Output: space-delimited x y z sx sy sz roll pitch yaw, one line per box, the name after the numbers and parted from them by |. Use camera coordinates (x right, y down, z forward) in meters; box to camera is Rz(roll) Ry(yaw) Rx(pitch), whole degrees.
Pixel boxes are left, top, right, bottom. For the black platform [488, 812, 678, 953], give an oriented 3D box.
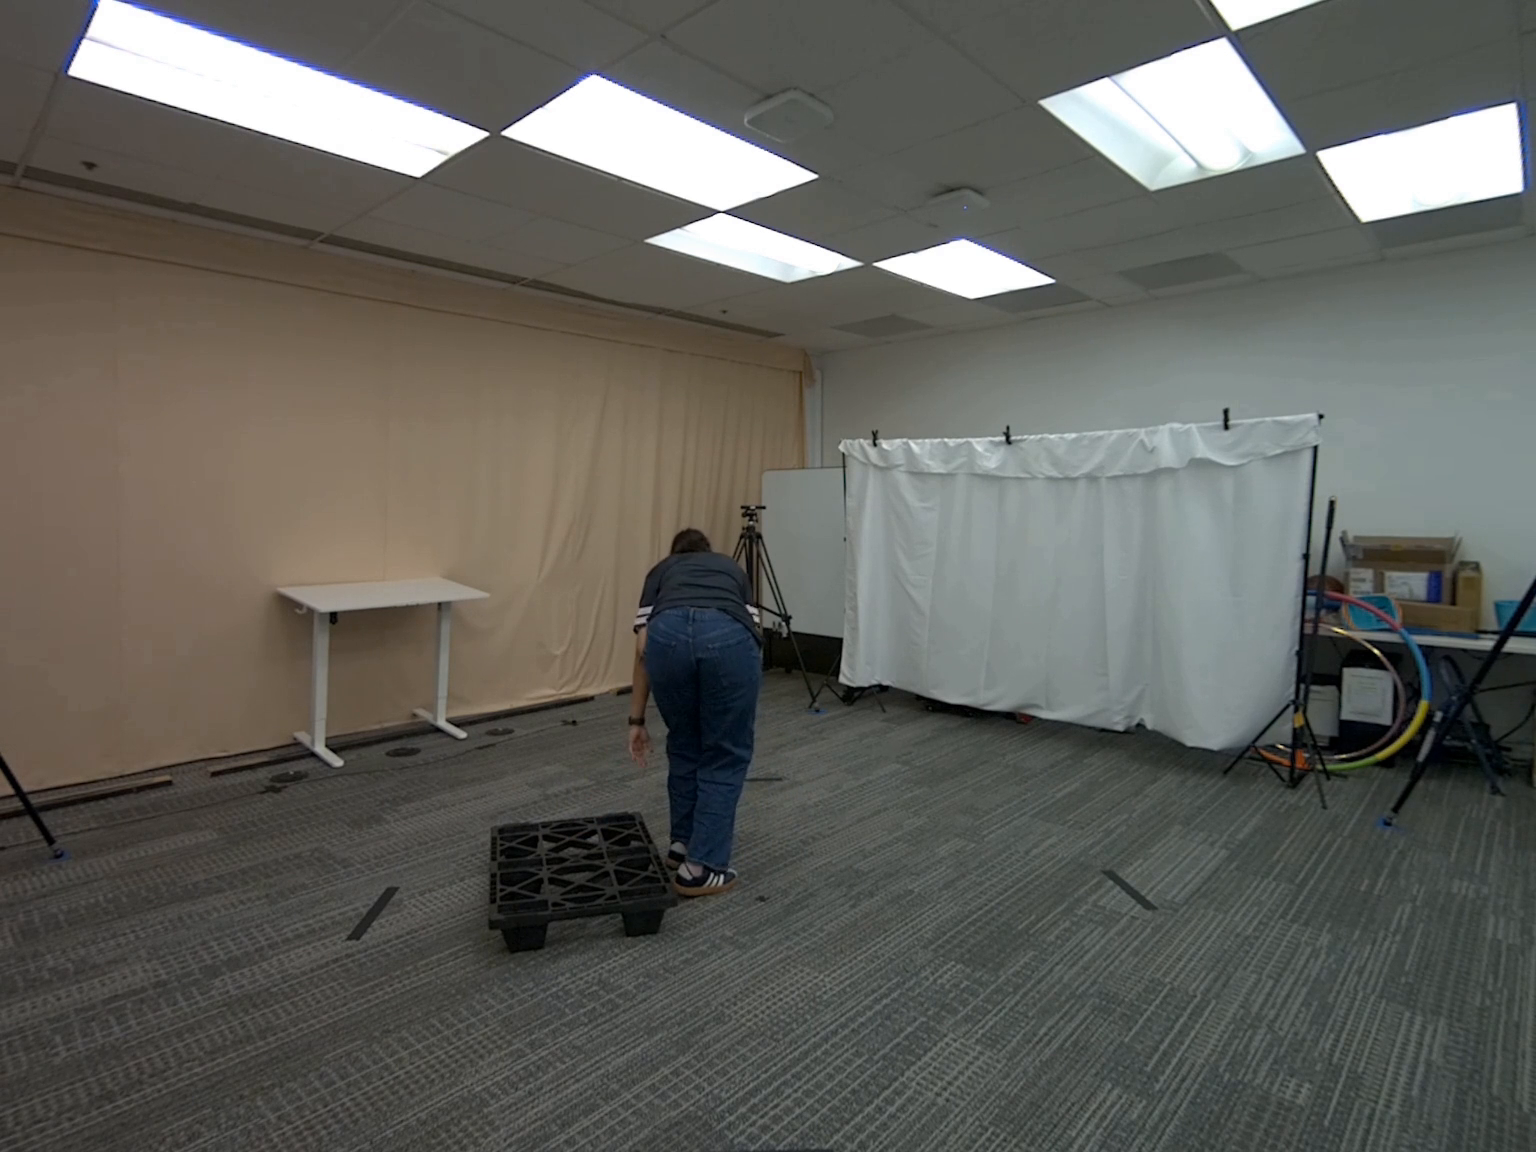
-0.693 1.079 3.038 0.595 0.143 0.821 -1 5 -17 | black platform
